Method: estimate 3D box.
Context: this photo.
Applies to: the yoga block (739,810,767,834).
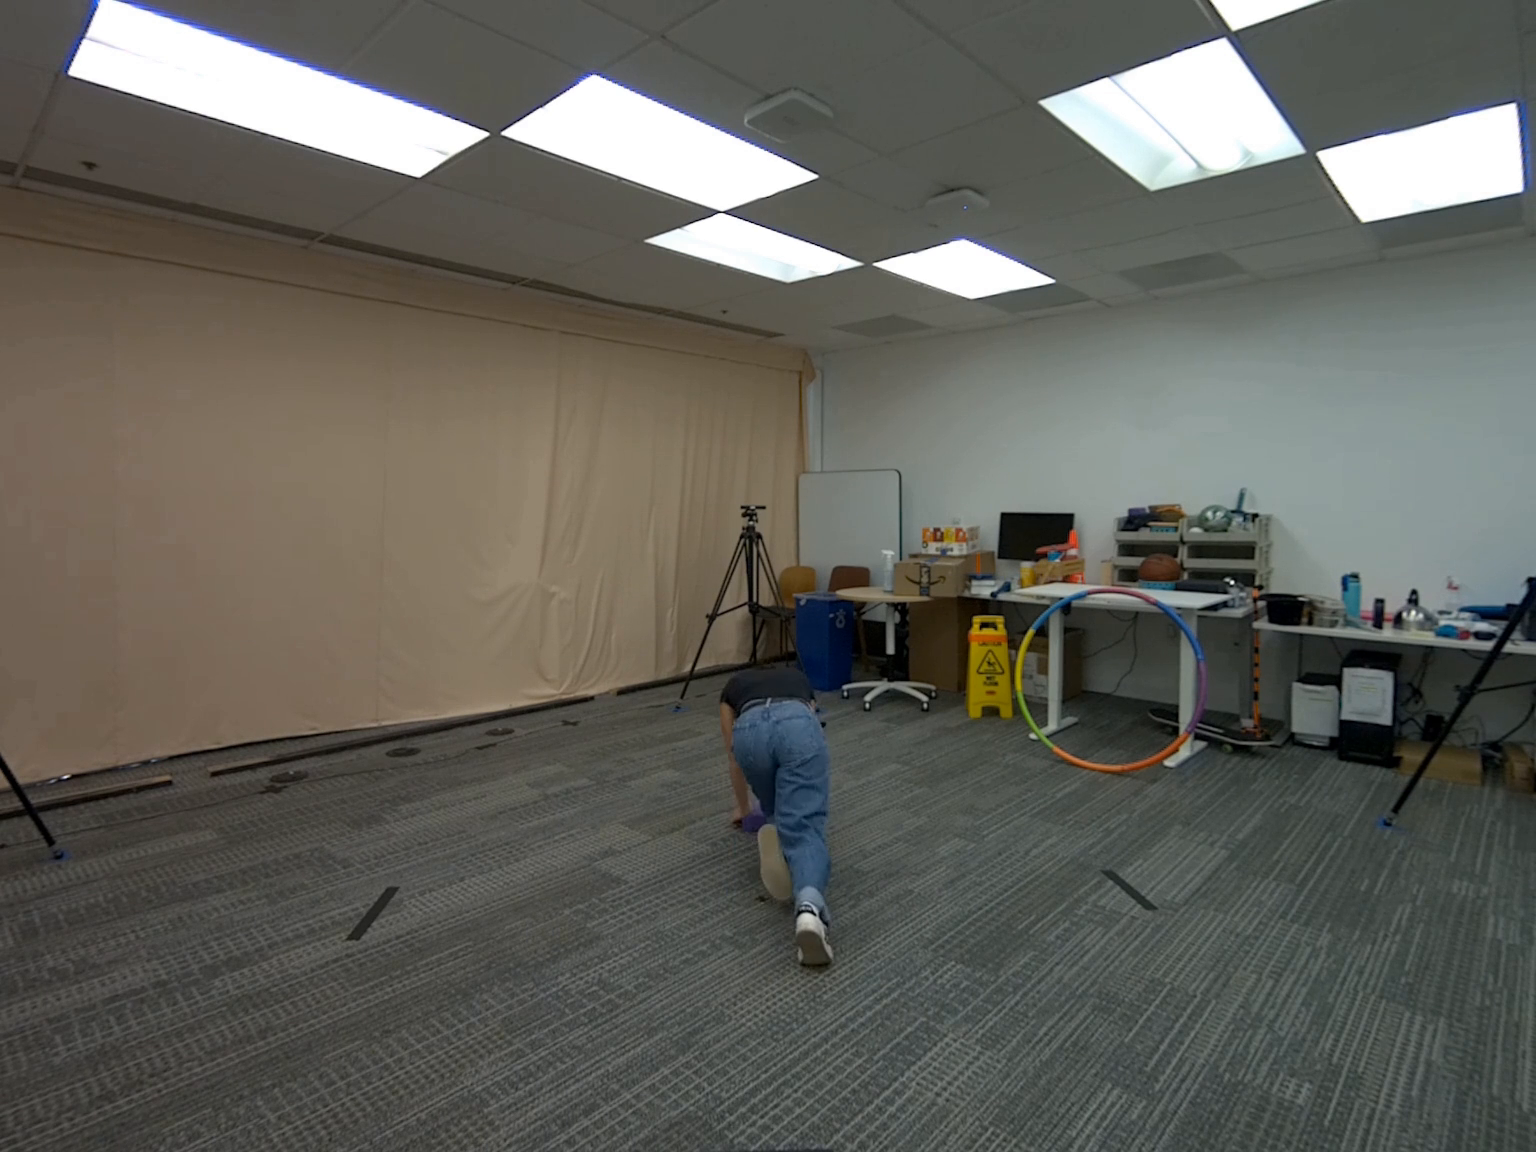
[{"bbox_3d":[0.013,1.049,3.666,0.229,0.076,0.149,-1,6,0],"label":"yoga block"}]
